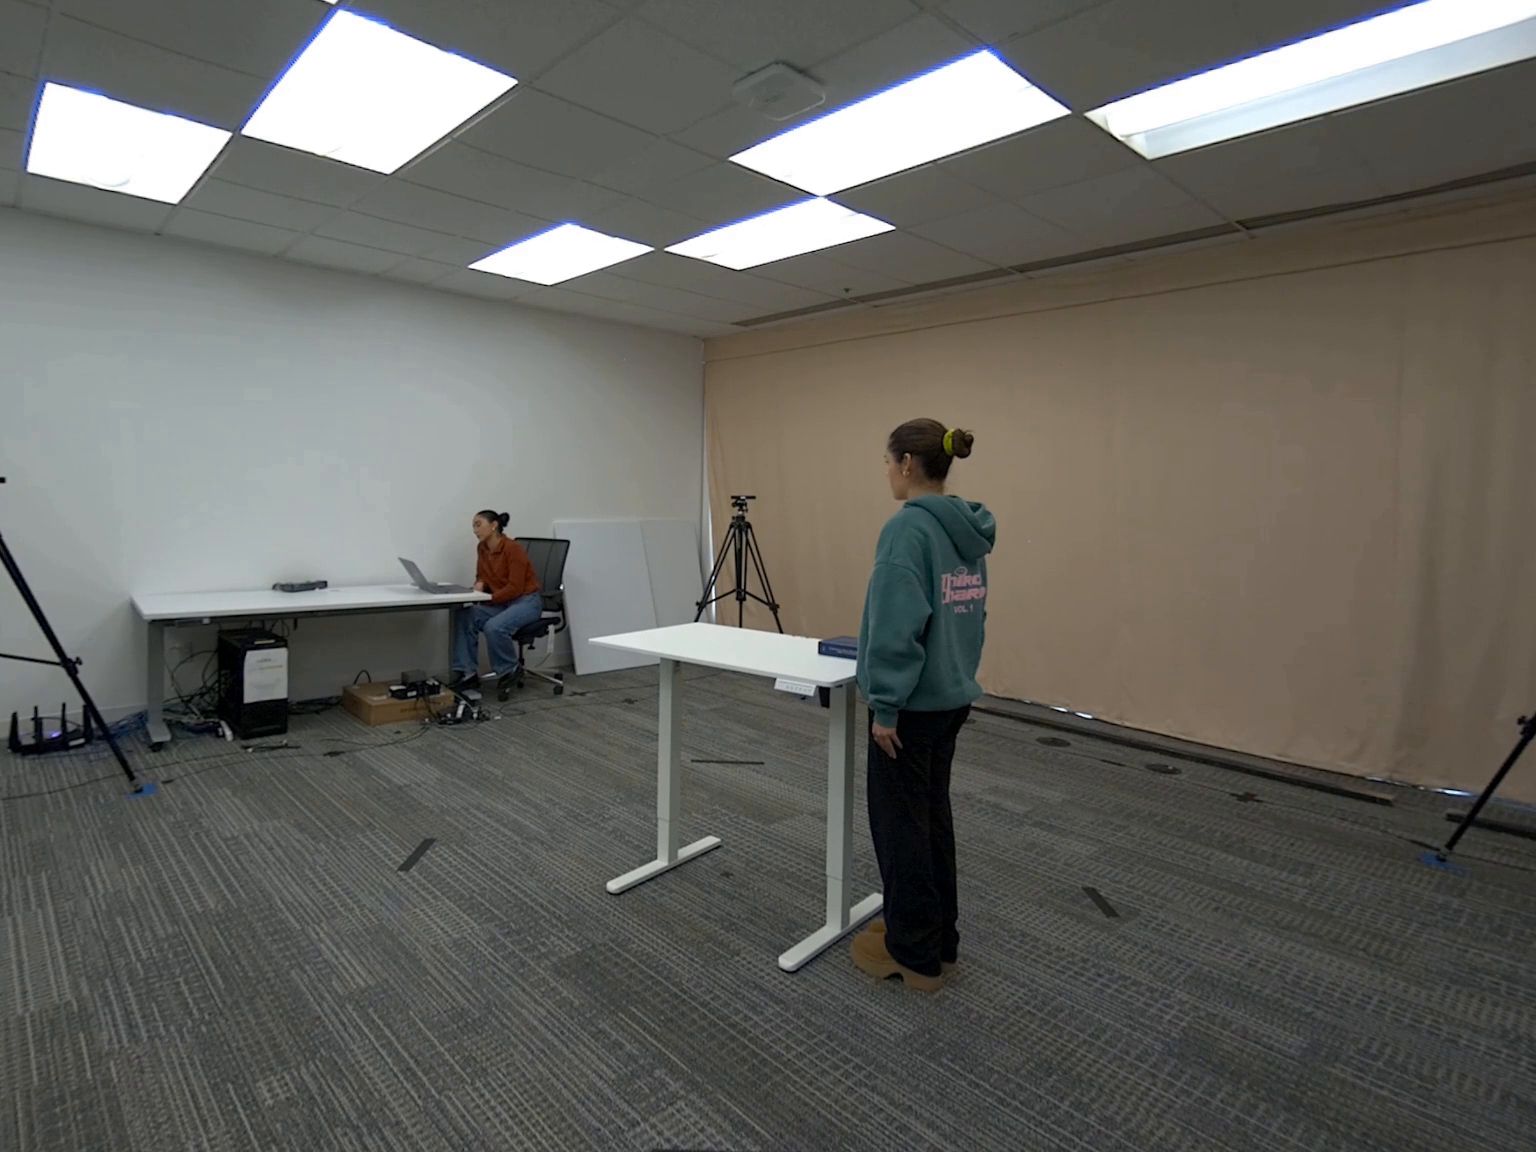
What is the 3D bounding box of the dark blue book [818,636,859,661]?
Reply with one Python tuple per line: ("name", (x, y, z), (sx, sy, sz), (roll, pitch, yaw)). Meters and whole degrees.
("dark blue book", (0.308, 0.243, 2.748), (0.251, 0.045, 0.160), (5, 6, 34))
